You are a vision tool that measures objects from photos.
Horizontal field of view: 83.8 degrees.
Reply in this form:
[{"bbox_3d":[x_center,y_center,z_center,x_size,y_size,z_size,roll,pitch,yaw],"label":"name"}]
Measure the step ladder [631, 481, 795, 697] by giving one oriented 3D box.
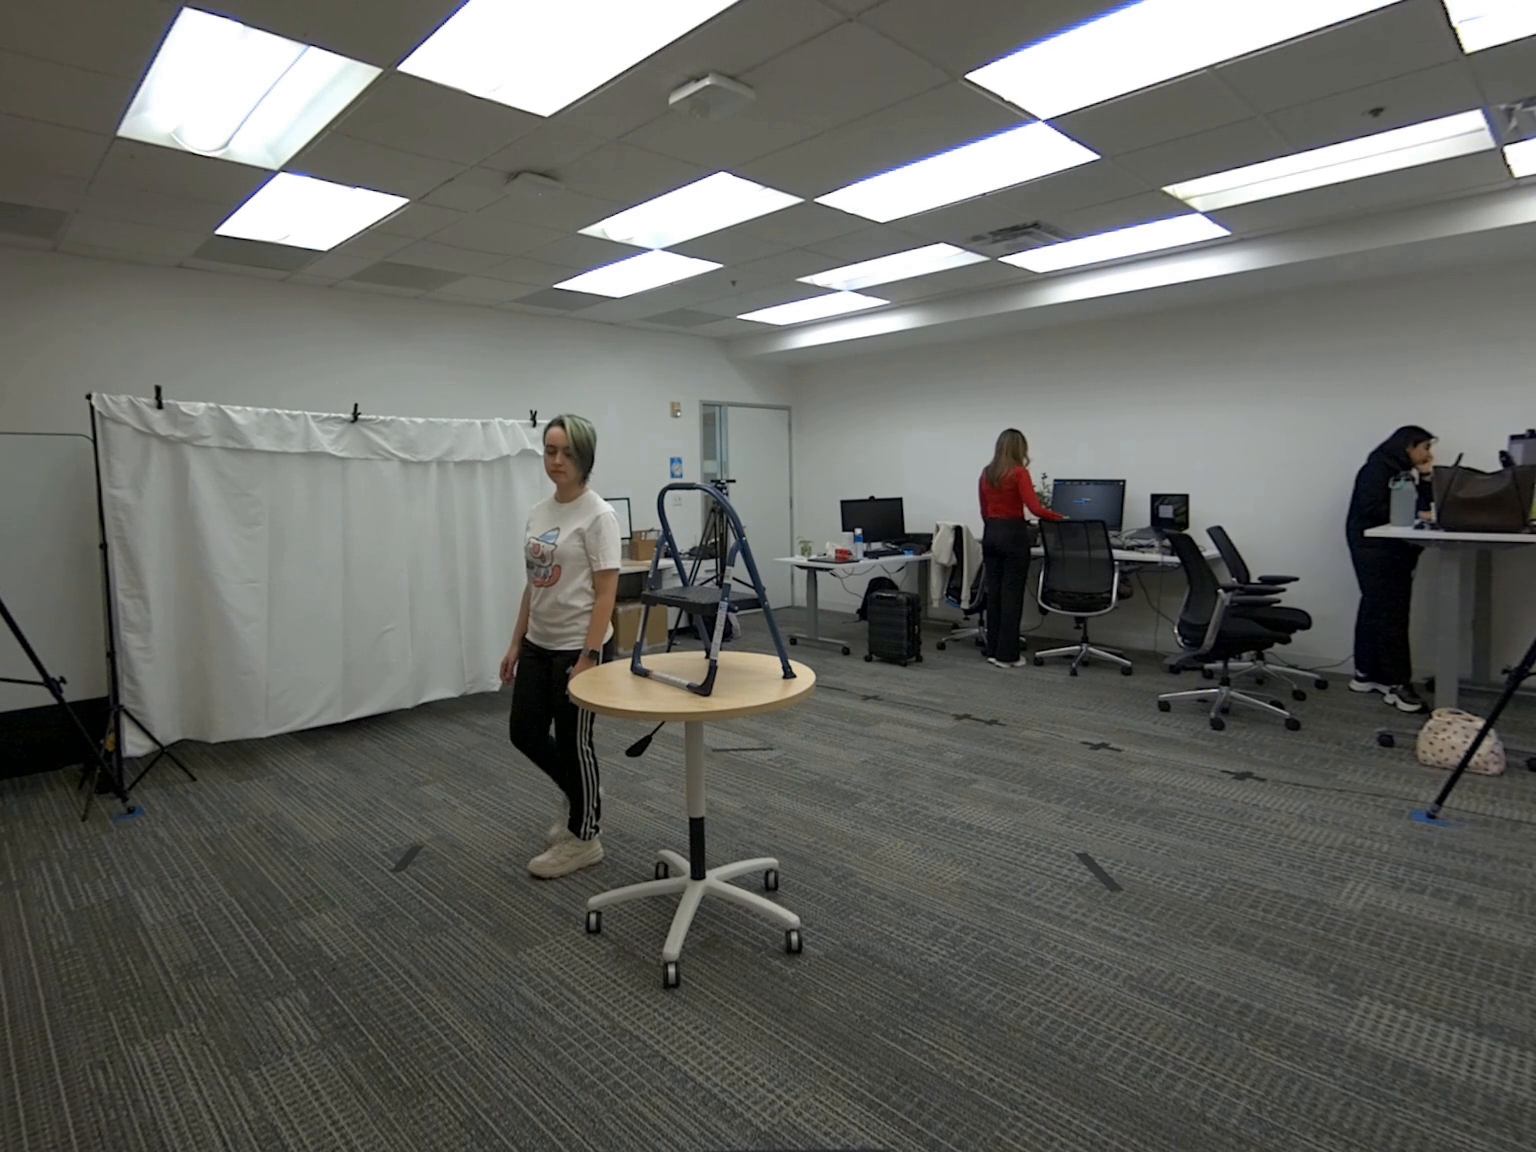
[{"bbox_3d":[-0.189,0.015,2.665,0.340,0.604,0.443,-5,5,-39],"label":"step ladder"}]
